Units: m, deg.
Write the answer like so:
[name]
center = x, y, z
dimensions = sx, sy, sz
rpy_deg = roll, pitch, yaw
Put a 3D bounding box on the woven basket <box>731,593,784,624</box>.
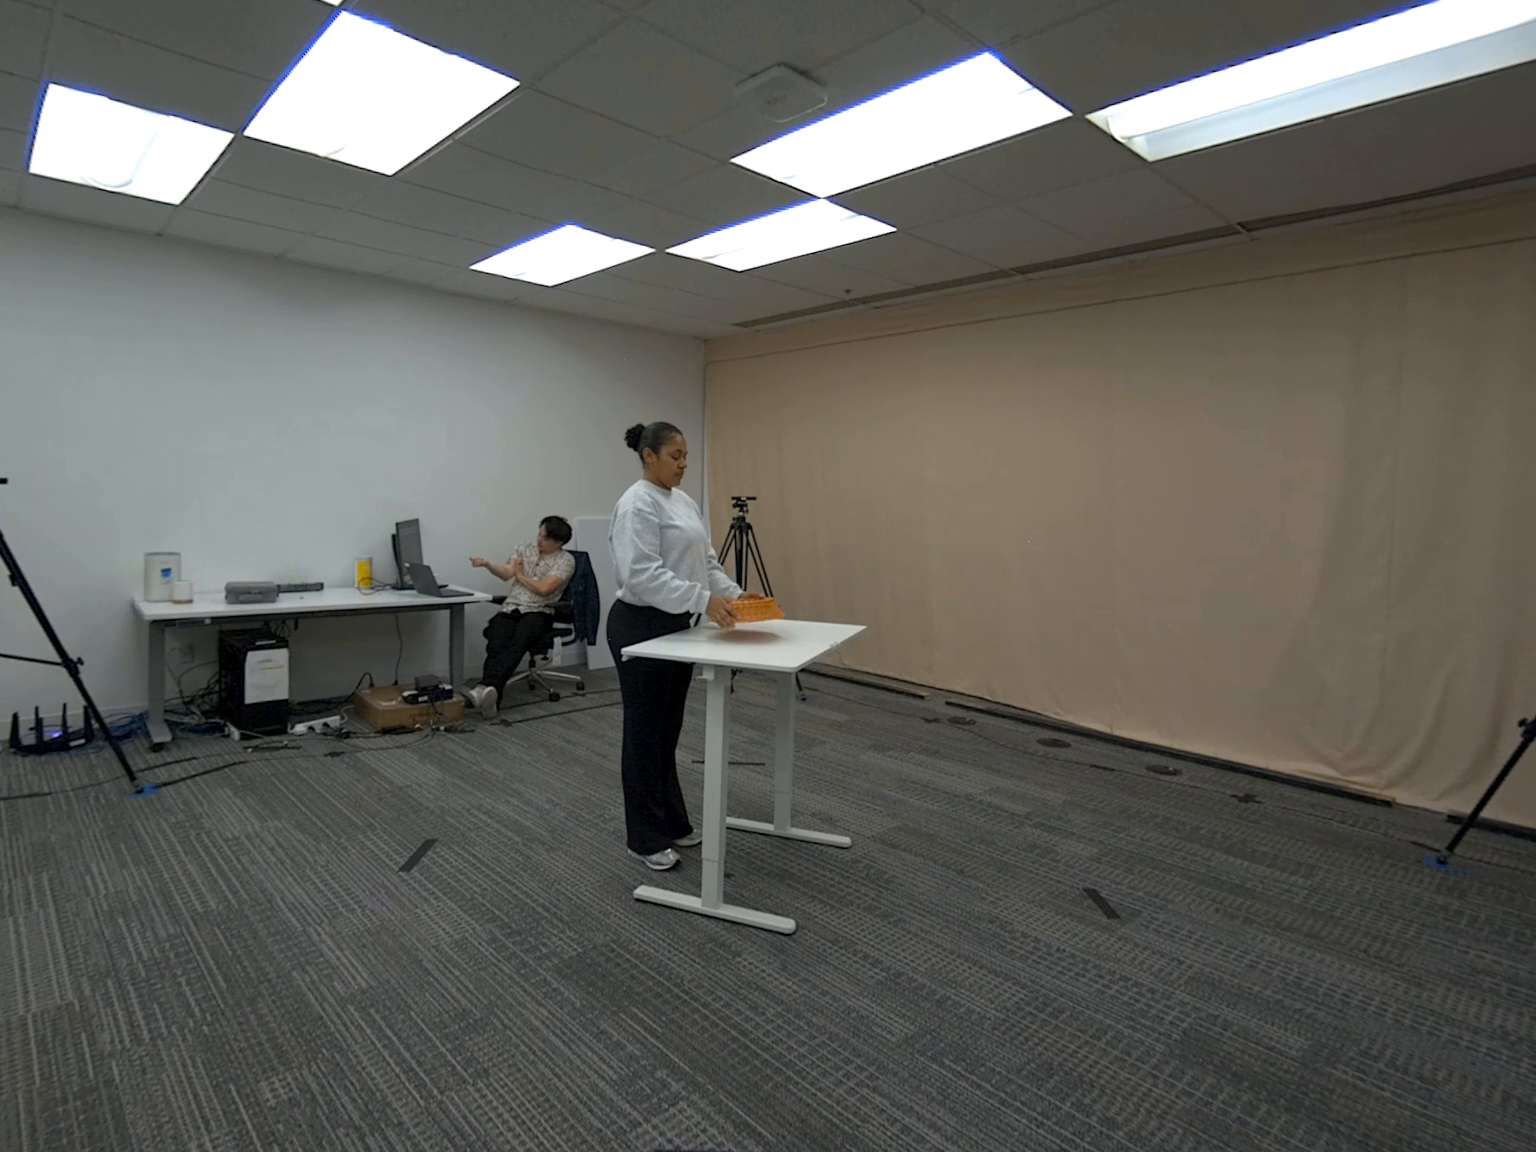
[woven basket]
center = -0.112, 0.109, 3.100
dimensions = 0.257, 0.073, 0.343
rpy_deg = 0, 3, 29
